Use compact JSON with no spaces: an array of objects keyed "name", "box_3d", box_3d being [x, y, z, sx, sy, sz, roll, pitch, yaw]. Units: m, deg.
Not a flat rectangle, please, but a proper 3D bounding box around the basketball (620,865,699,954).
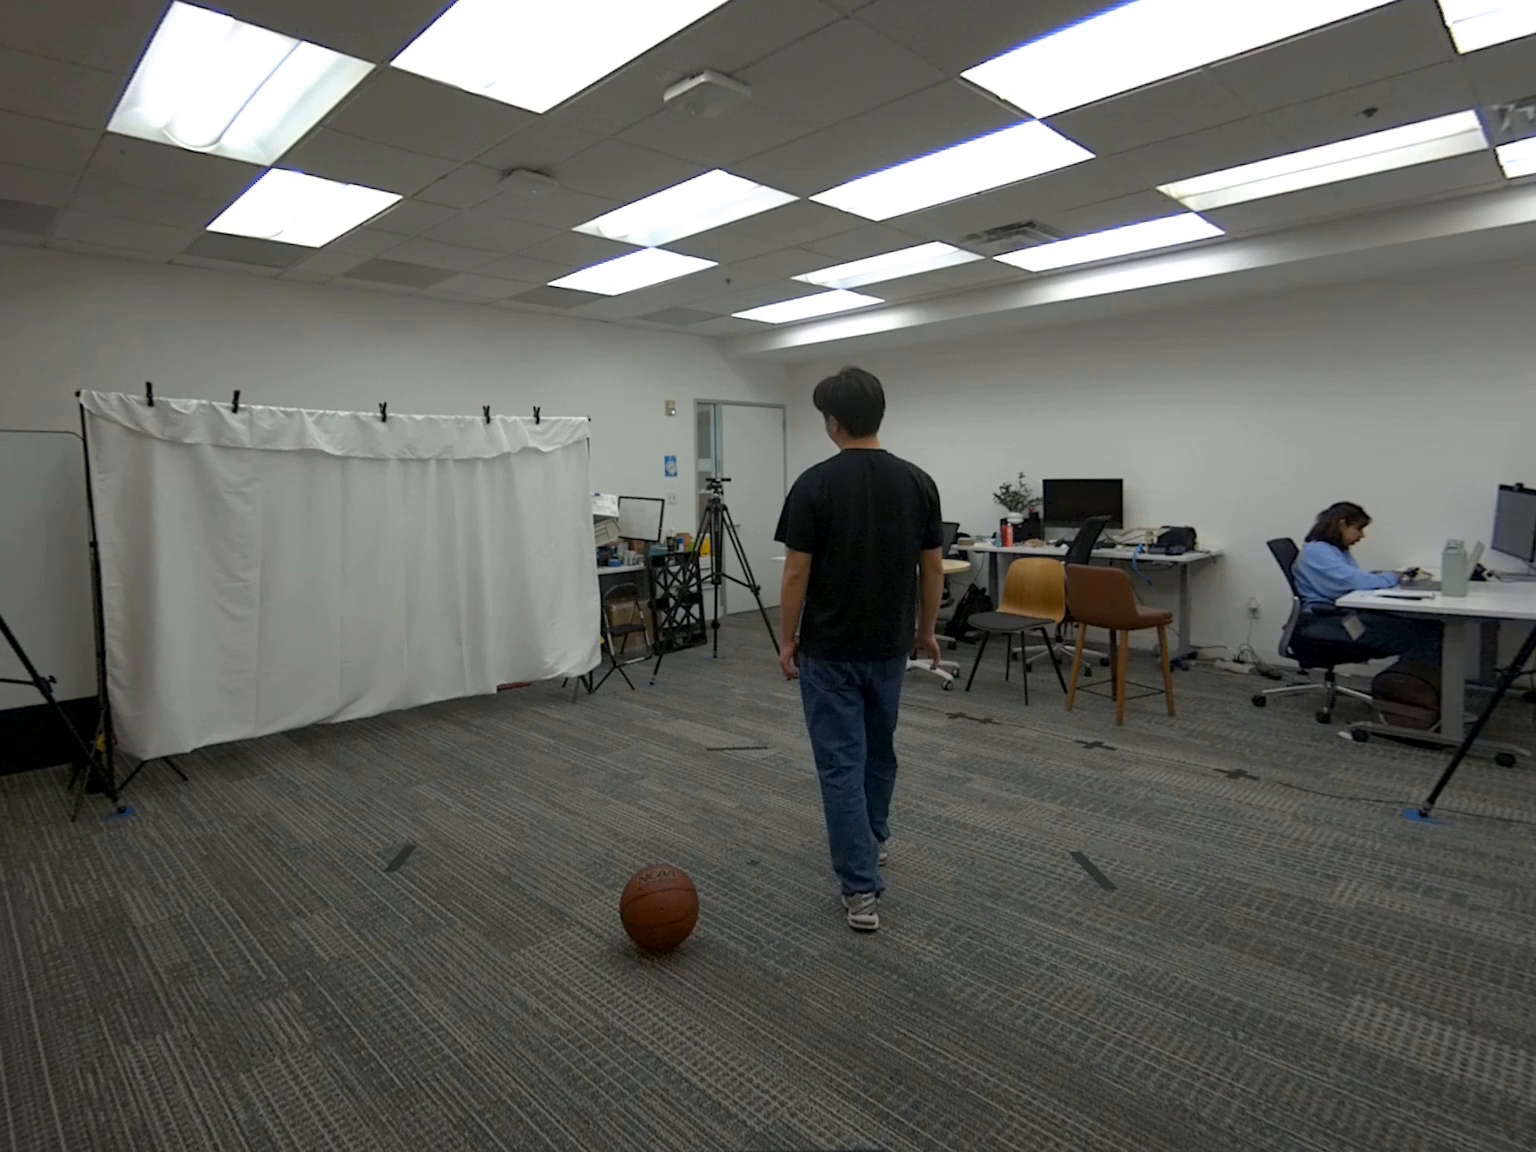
[{"name":"basketball","box_3d":[-0.323,0.986,2.565,0.236,0.235,0.237,-1,5,-2]}]
